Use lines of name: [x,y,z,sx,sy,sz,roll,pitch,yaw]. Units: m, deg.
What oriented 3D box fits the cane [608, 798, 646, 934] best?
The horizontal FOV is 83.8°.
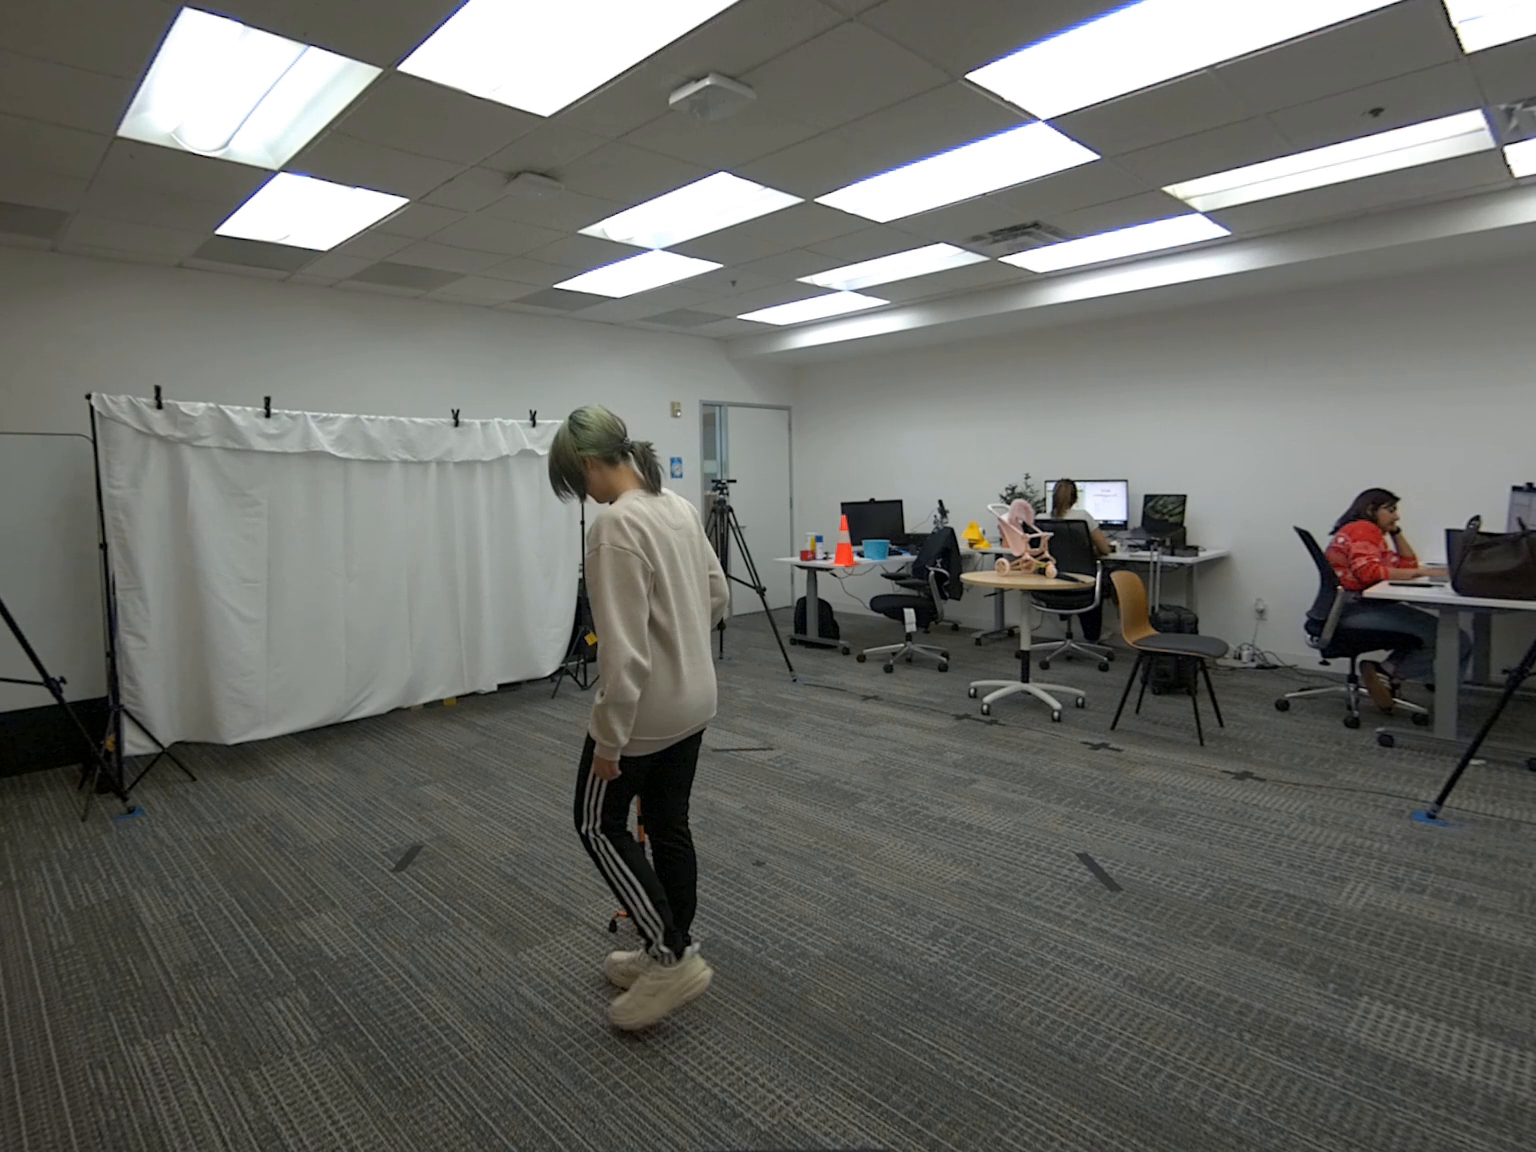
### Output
cane: [-0.371,0.653,2.640,0.212,0.905,0.148,1,4,32]
